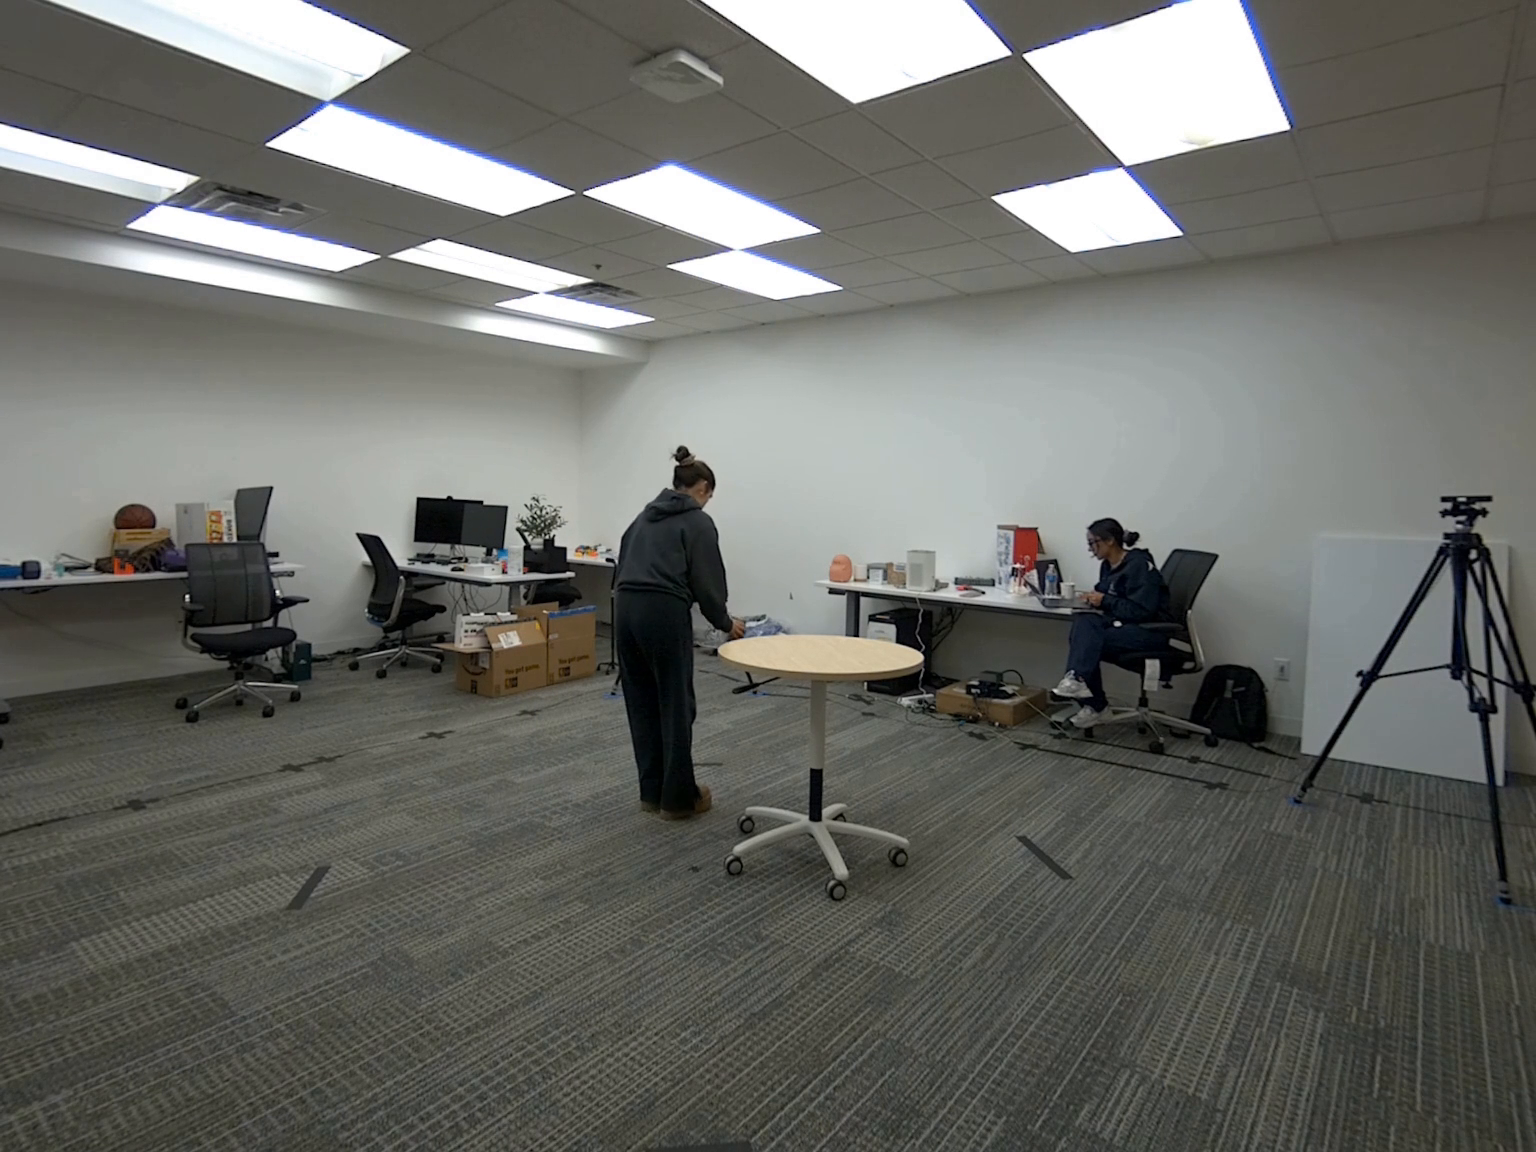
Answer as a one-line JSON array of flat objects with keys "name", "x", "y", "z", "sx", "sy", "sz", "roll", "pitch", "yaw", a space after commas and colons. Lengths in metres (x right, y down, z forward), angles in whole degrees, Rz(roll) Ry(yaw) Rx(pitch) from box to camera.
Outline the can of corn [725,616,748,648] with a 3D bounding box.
[{"name": "can of corn", "x": -0.144, "y": 0.250, "z": 3.789, "sx": 0.074, "sy": 0.111, "sz": 0.074, "roll": 14, "pitch": 2, "yaw": -2}]
